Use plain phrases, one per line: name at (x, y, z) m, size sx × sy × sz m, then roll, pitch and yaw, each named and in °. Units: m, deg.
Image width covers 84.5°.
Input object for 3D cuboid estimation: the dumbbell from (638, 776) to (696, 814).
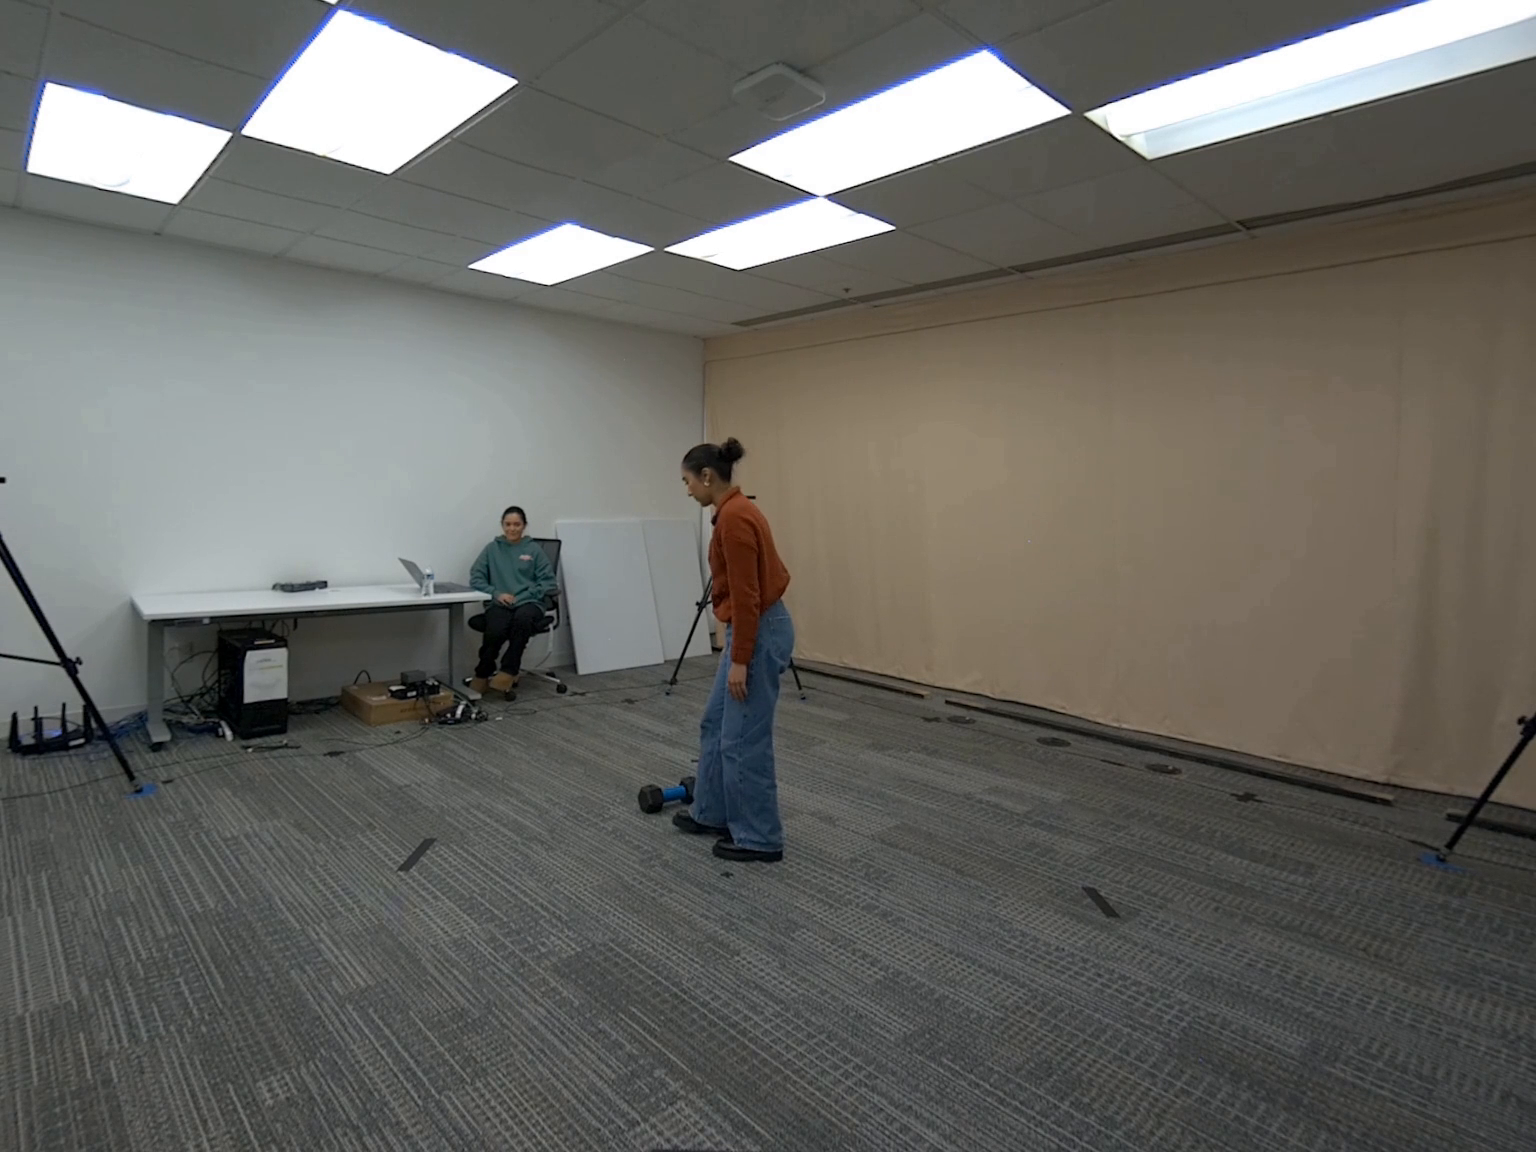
dumbbell at (-0.443, 0.982, 3.782) m, size 0.287 × 0.122 × 0.112 m, roll -2°, pitch 36°, yaw -38°
